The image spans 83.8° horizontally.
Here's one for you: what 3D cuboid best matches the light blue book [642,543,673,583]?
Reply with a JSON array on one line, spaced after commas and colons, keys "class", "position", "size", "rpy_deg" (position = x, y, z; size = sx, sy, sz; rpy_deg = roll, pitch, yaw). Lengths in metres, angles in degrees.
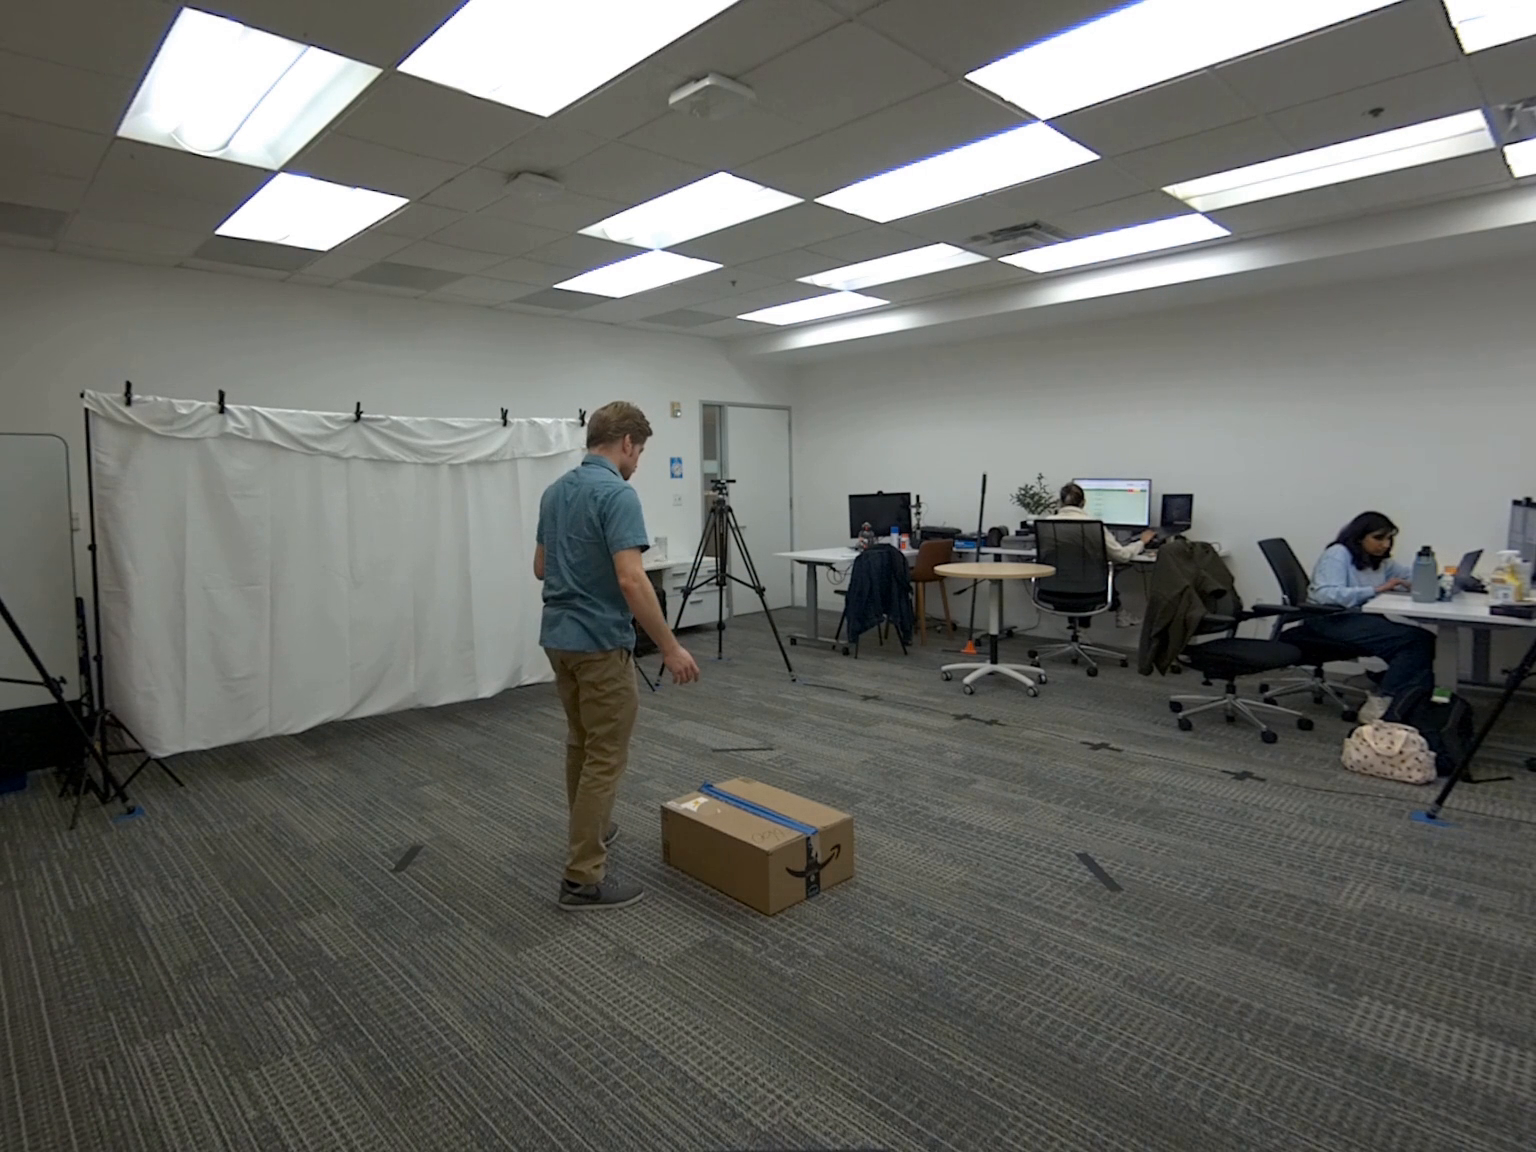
[{"class": "light blue book", "position": [-0.517, -0.061, 3.351], "size": [0.189, 0.058, 0.267], "rpy_deg": [-19, 11, -19]}]
